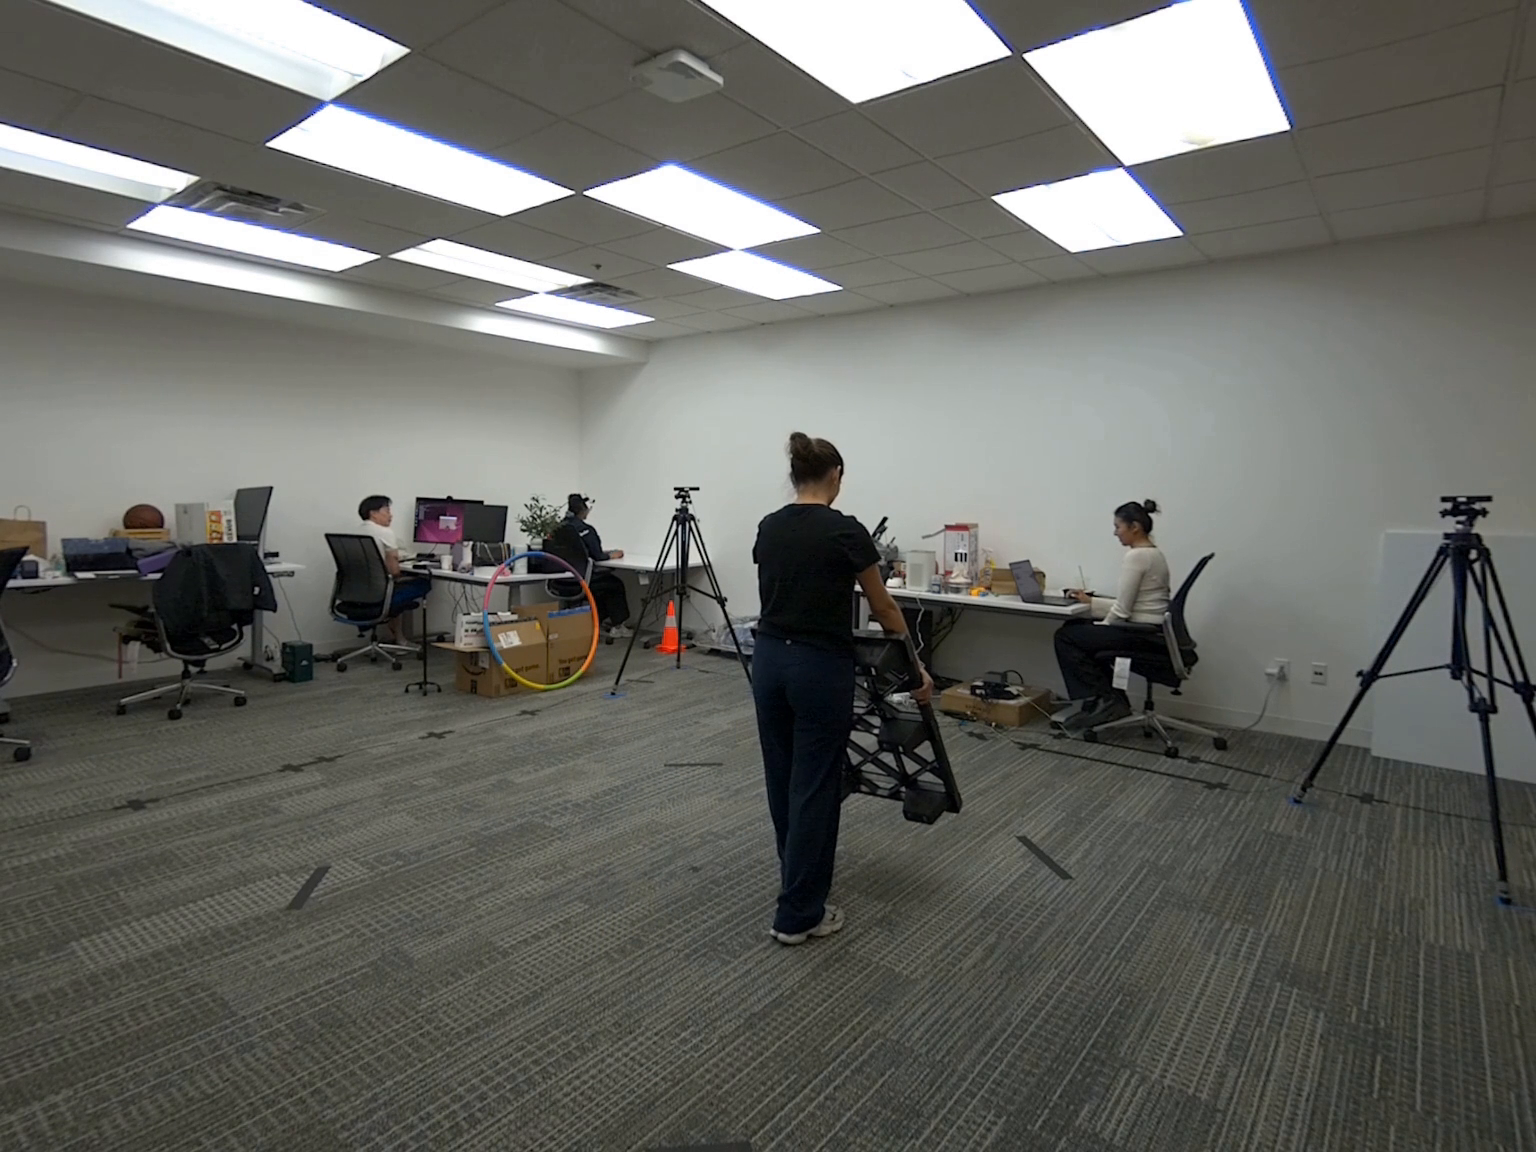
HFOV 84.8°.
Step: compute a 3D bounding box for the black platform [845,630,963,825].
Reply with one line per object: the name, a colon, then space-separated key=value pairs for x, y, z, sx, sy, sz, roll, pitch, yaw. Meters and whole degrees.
black platform: x=0.303 y=0.522 z=3.009 sx=0.623 sy=0.782 sz=0.143 roll=0 pitch=33 yaw=36
